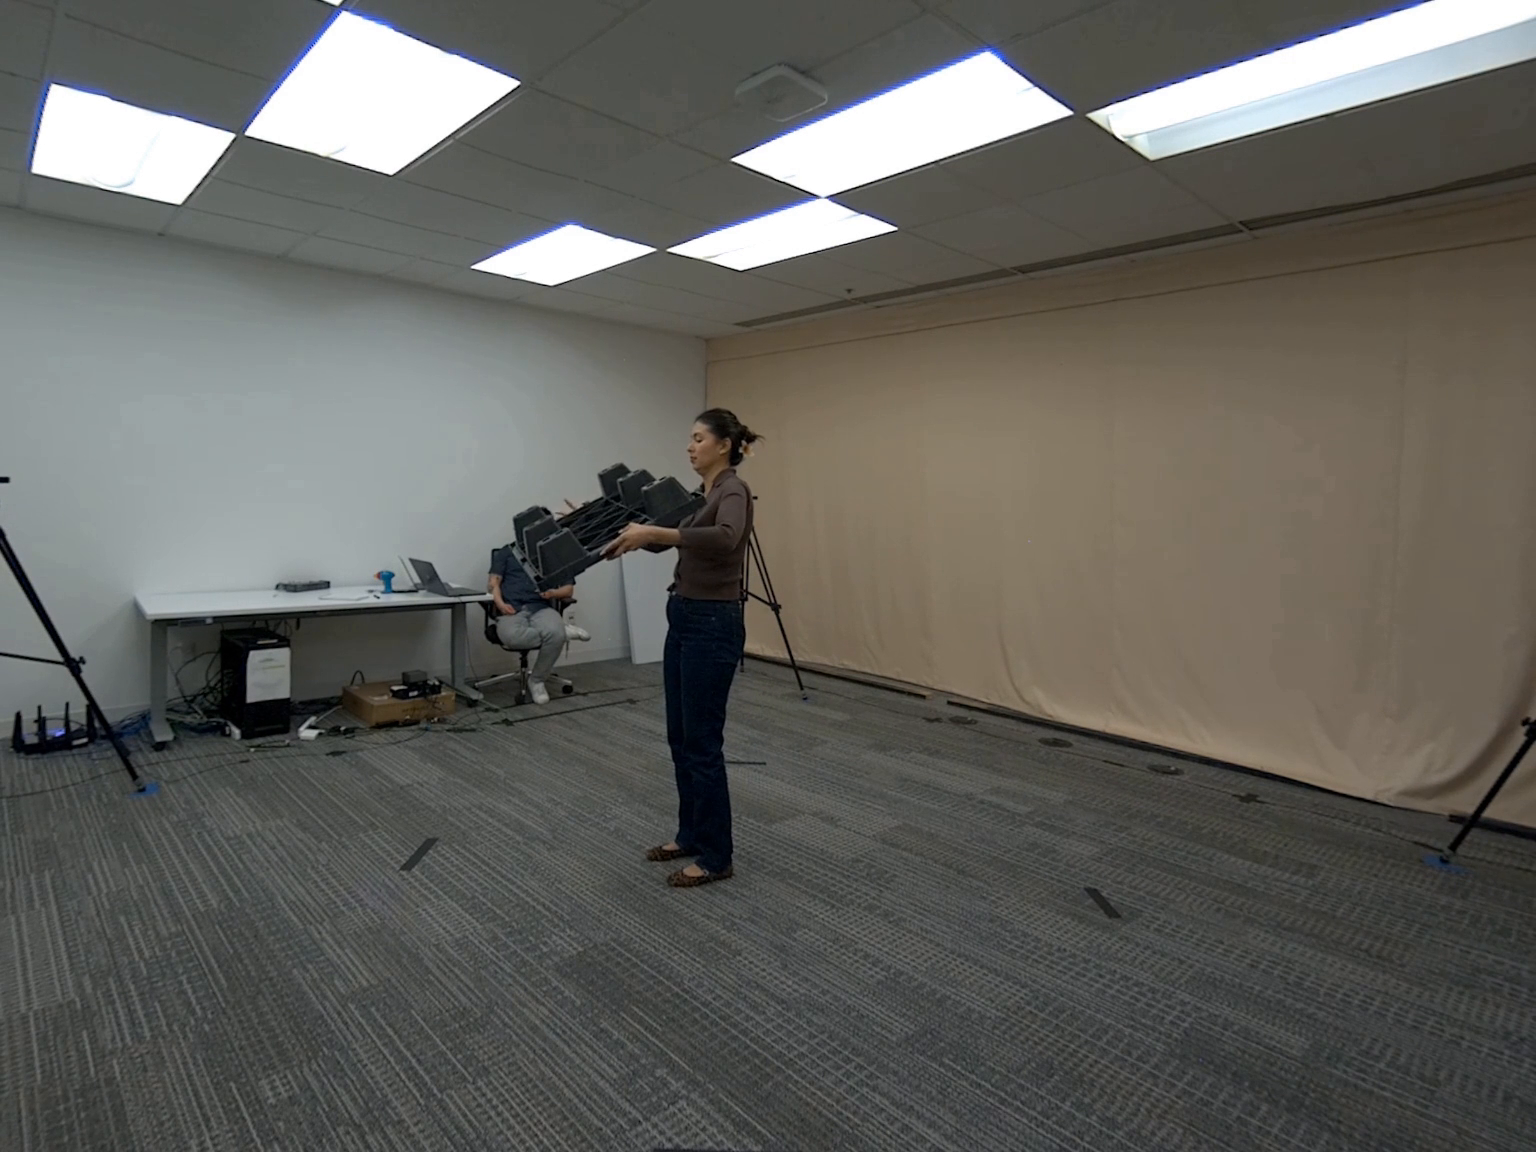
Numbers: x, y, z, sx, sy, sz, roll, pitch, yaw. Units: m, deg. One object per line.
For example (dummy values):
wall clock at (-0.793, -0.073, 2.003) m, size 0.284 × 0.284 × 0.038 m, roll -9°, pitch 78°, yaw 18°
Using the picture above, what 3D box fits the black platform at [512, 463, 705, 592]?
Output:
black platform at (-0.630, -0.210, 2.975) m, size 0.602 × 0.141 × 0.823 m, roll -28°, pitch 20°, yaw -15°
